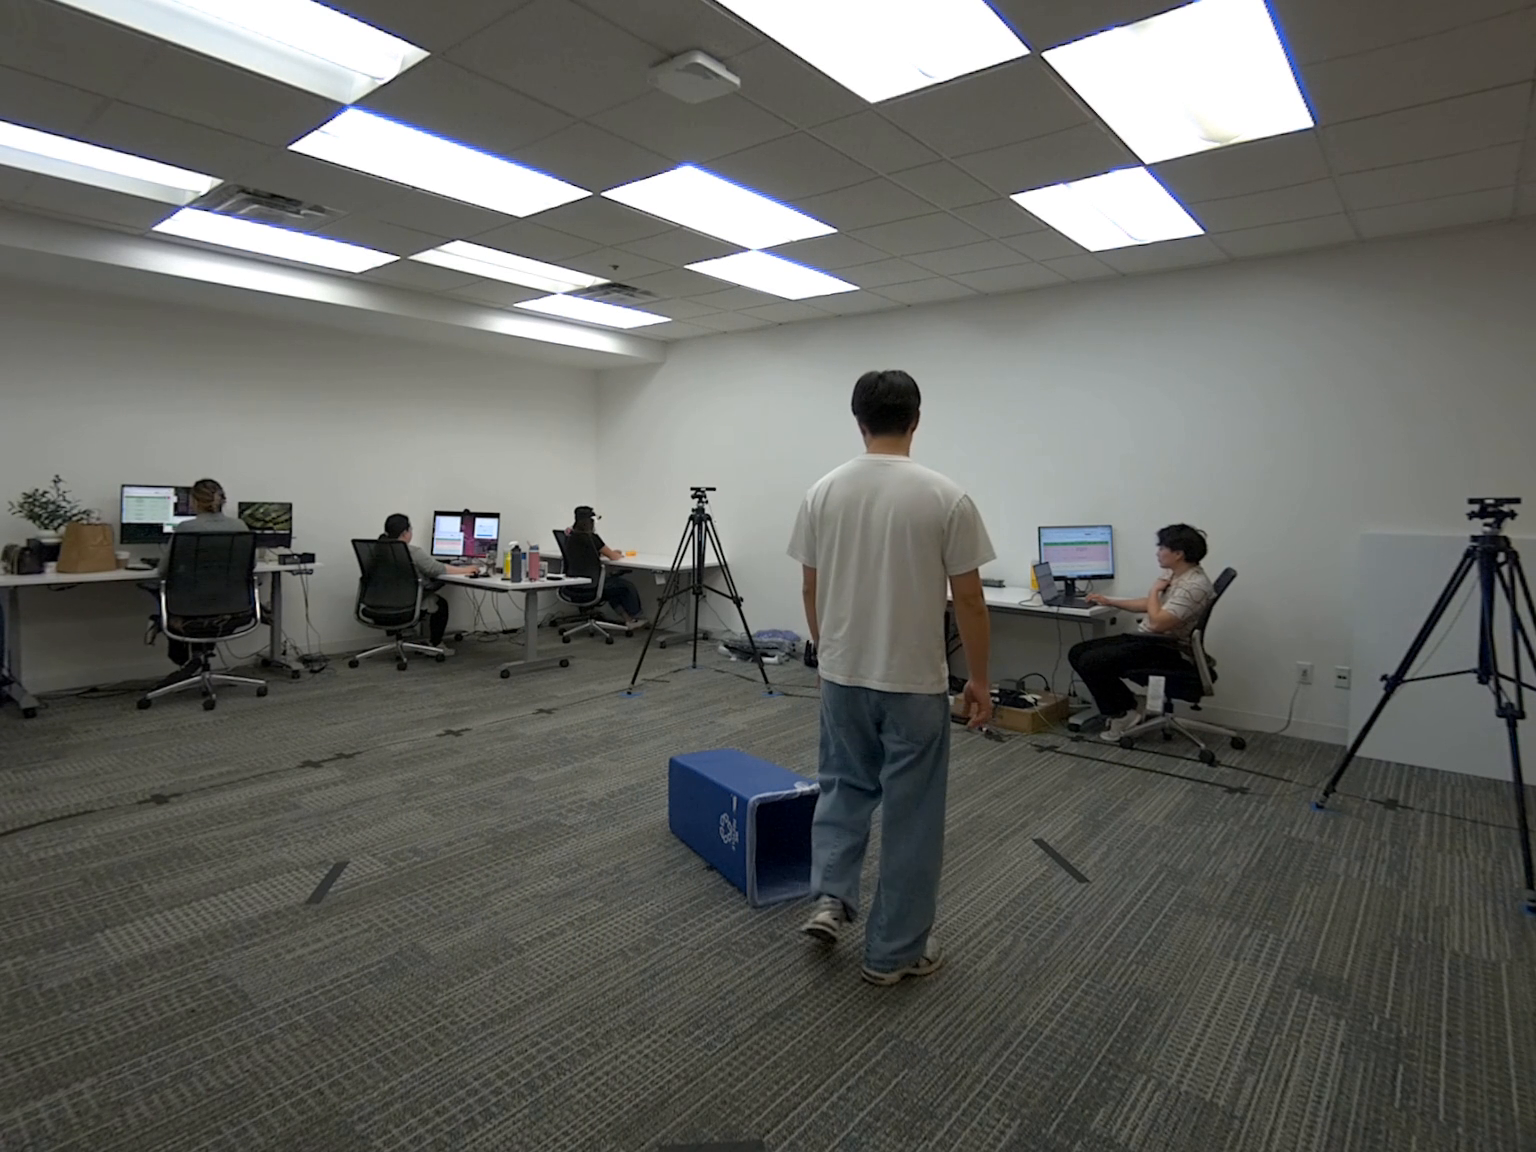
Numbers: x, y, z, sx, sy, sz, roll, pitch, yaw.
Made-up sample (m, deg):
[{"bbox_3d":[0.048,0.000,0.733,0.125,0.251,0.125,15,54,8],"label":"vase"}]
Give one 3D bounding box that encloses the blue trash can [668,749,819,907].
[{"bbox_3d":[-0.105,0.894,3.200,0.364,0.377,0.734,-1,3,-32],"label":"blue trash can"}]
